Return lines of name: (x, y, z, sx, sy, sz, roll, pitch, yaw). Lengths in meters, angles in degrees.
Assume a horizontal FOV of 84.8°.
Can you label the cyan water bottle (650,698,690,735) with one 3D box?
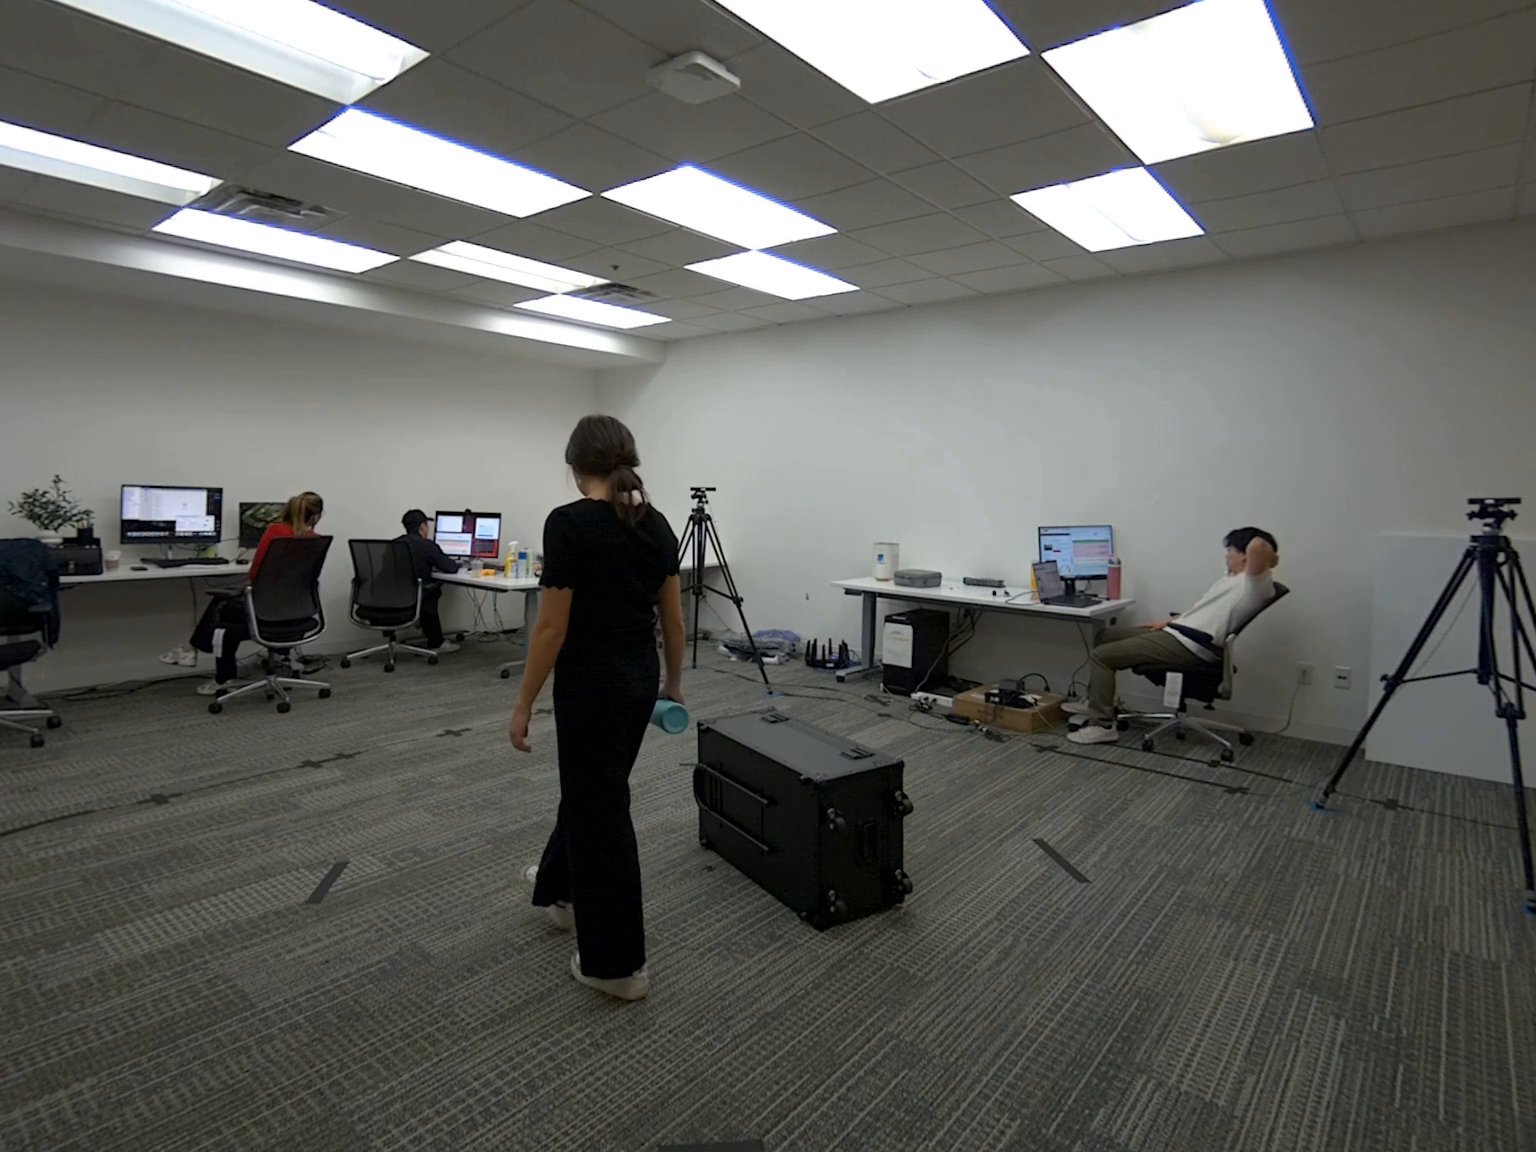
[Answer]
cyan water bottle: (-0.353, 0.415, 2.645, 0.090, 0.092, 0.289, -1, -1, -26)
